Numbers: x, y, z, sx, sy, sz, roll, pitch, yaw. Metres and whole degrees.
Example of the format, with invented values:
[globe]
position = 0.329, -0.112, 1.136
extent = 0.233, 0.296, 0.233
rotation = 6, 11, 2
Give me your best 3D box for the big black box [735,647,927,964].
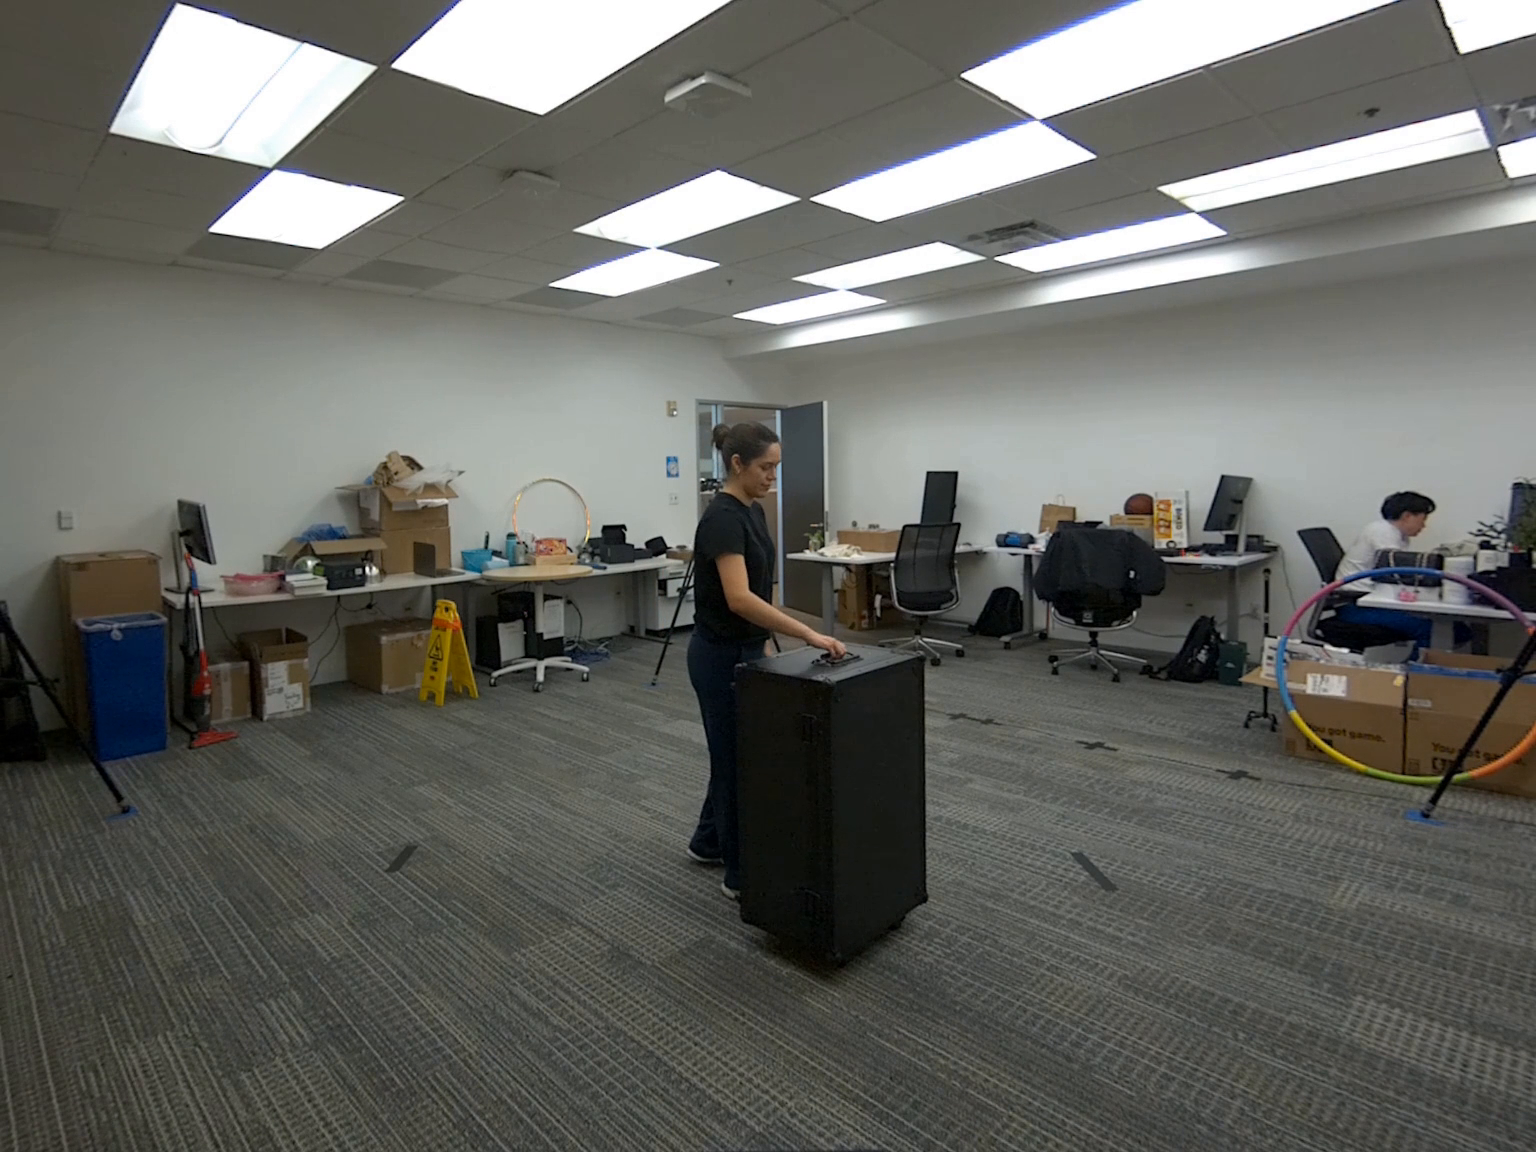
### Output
[big black box]
position = 0.189, 0.671, 2.613
extent = 0.408, 0.859, 0.508
rotation = 1, 5, 43
